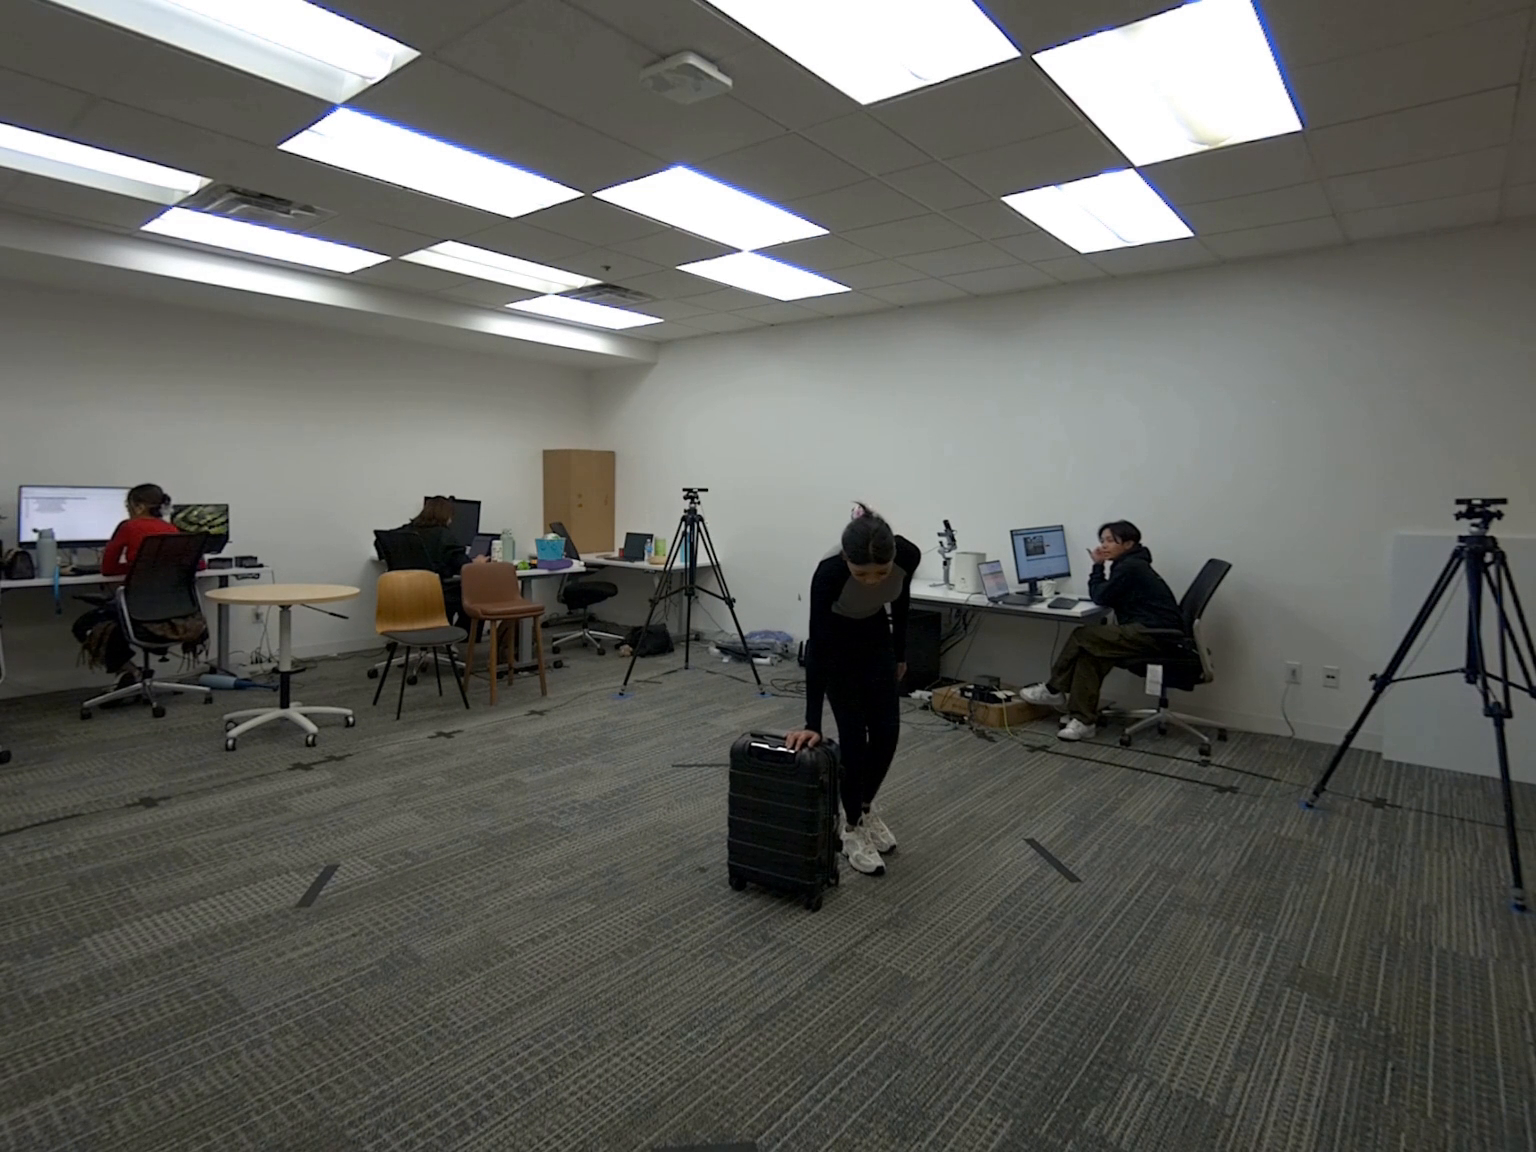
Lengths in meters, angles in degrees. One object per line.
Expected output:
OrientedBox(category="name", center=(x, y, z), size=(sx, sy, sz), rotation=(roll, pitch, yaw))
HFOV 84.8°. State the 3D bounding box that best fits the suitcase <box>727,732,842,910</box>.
OrientedBox(category="suitcase", center=(0.048, 0.811, 2.962), size=(0.386, 0.548, 0.242), rotation=(2, 4, 27))
